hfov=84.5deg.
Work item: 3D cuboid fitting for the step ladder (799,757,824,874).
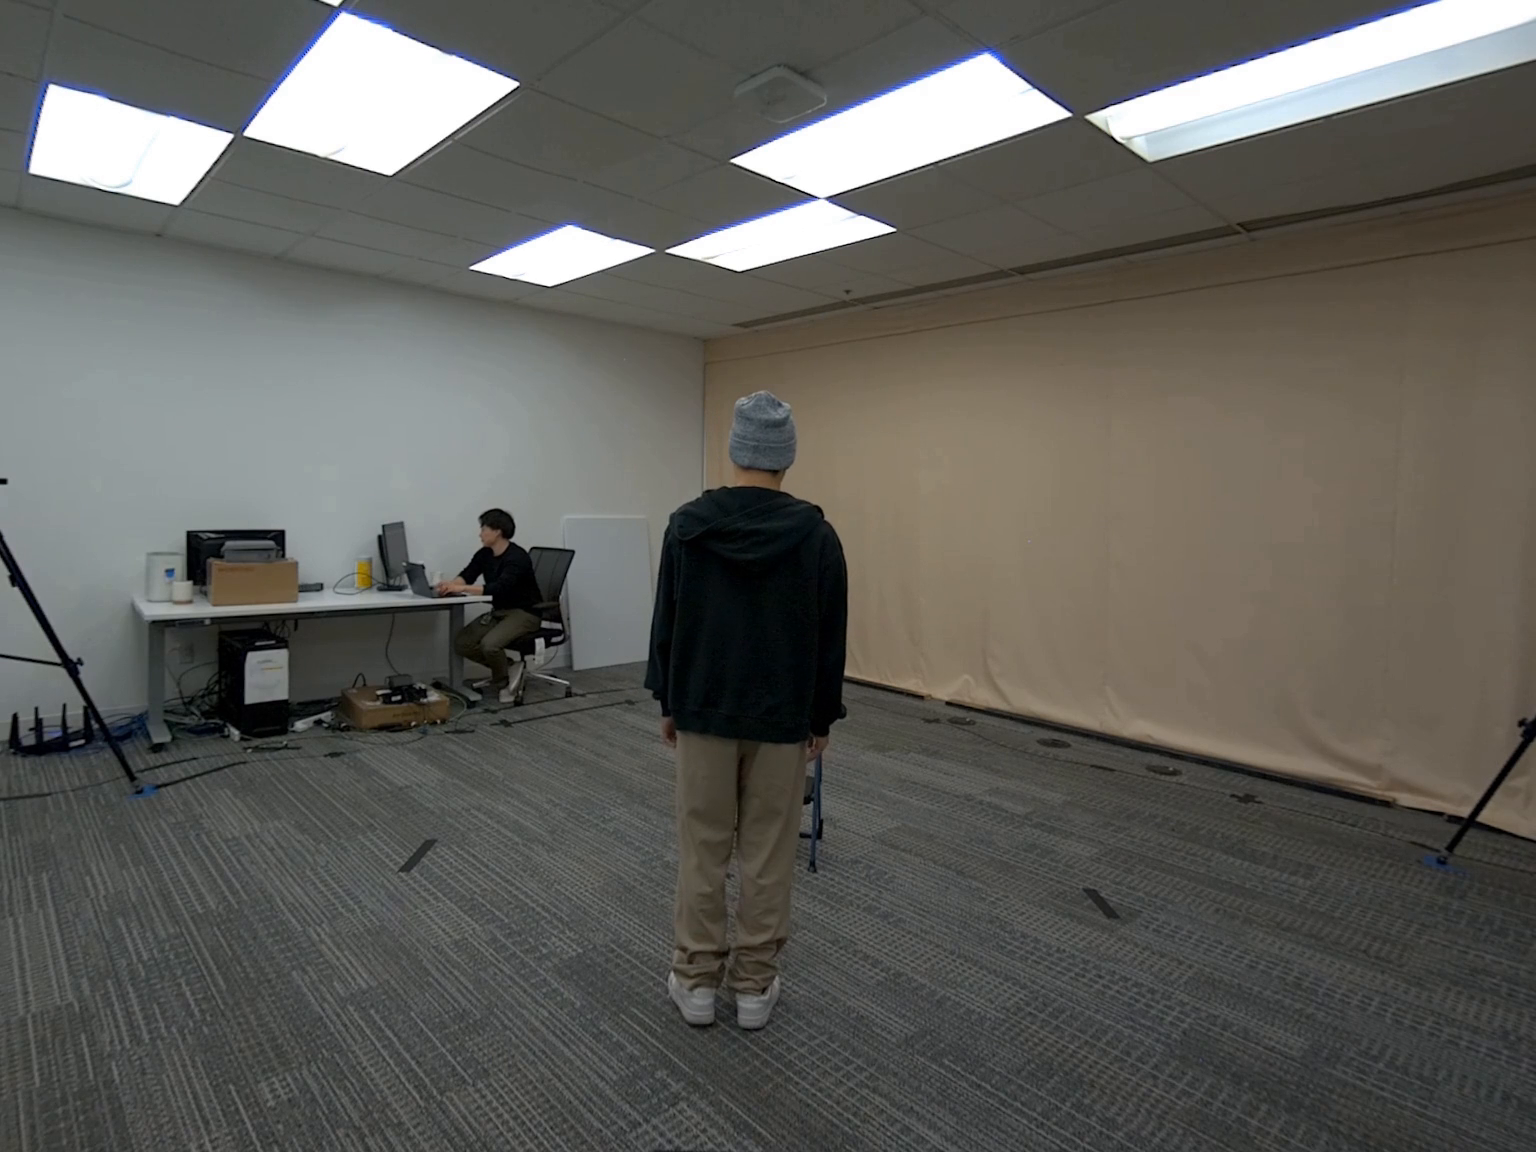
[{"bbox_3d":[0.002,0.790,3.347,0.434,0.605,0.347,1,3,10],"label":"step ladder"}]
